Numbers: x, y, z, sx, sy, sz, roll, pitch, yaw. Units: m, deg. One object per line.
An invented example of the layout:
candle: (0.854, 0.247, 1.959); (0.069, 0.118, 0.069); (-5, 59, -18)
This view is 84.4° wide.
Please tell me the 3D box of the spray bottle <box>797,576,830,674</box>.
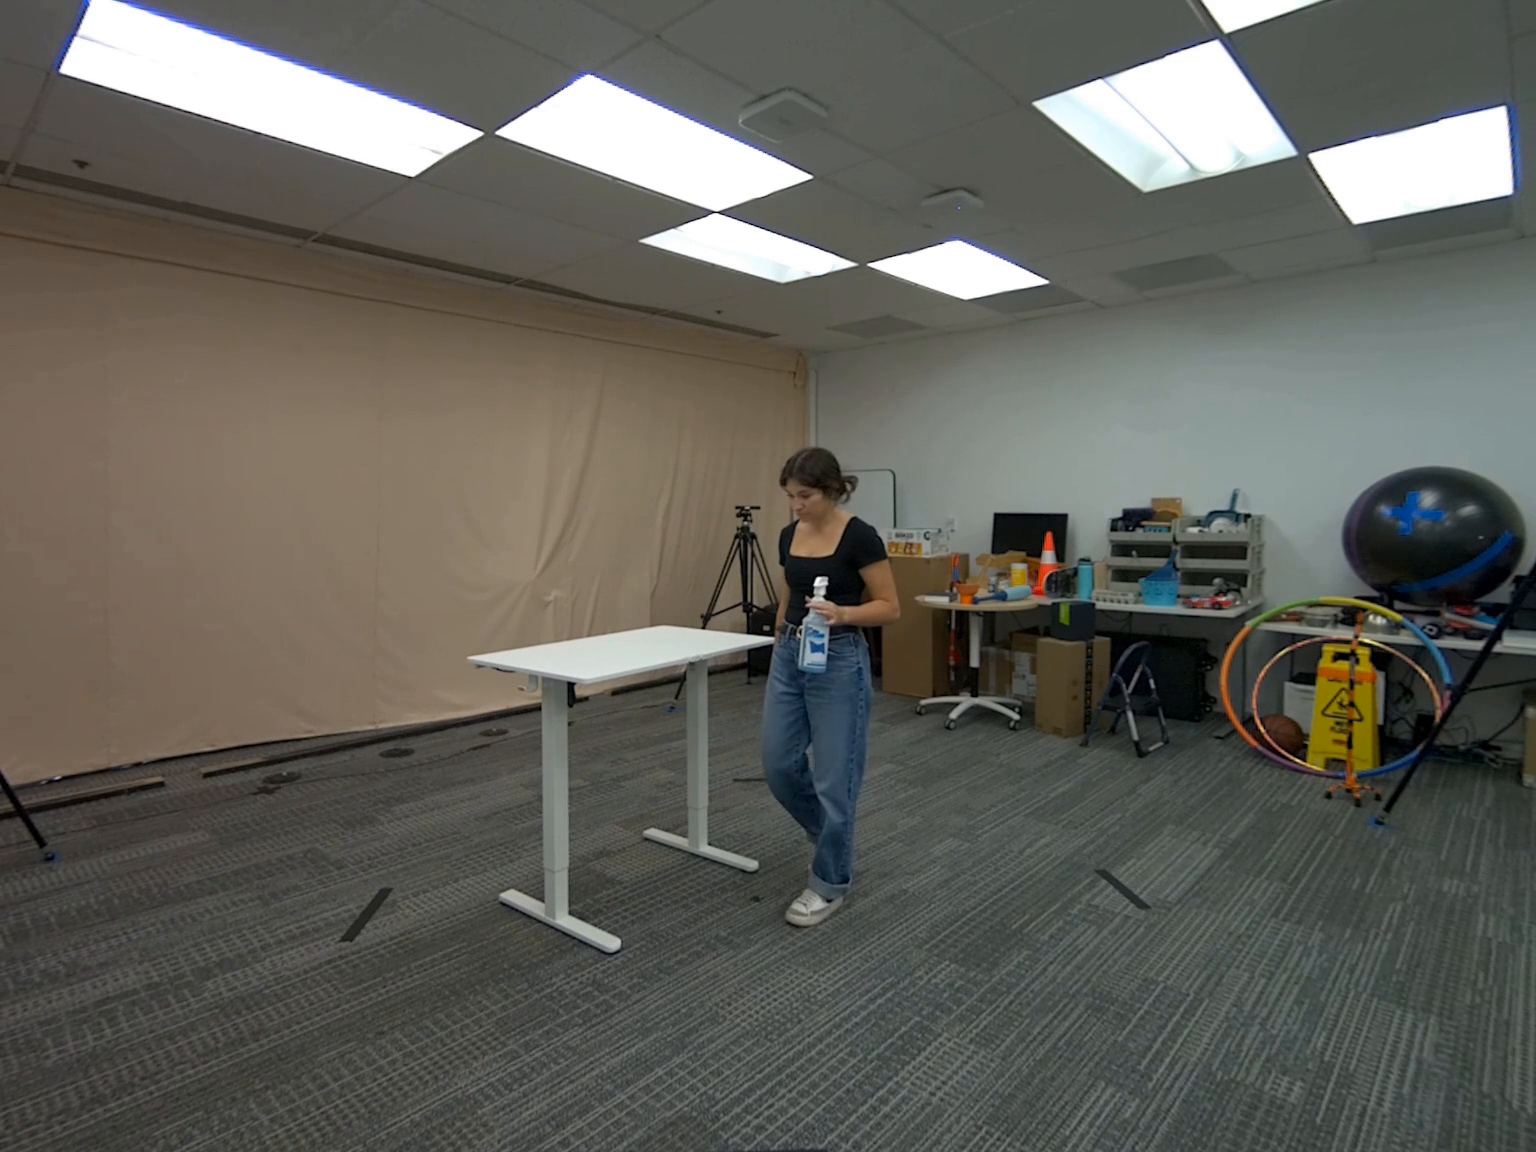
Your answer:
spray bottle: (0.154, 0.150, 2.645); (0.087, 0.297, 0.090); (5, -2, -40)
